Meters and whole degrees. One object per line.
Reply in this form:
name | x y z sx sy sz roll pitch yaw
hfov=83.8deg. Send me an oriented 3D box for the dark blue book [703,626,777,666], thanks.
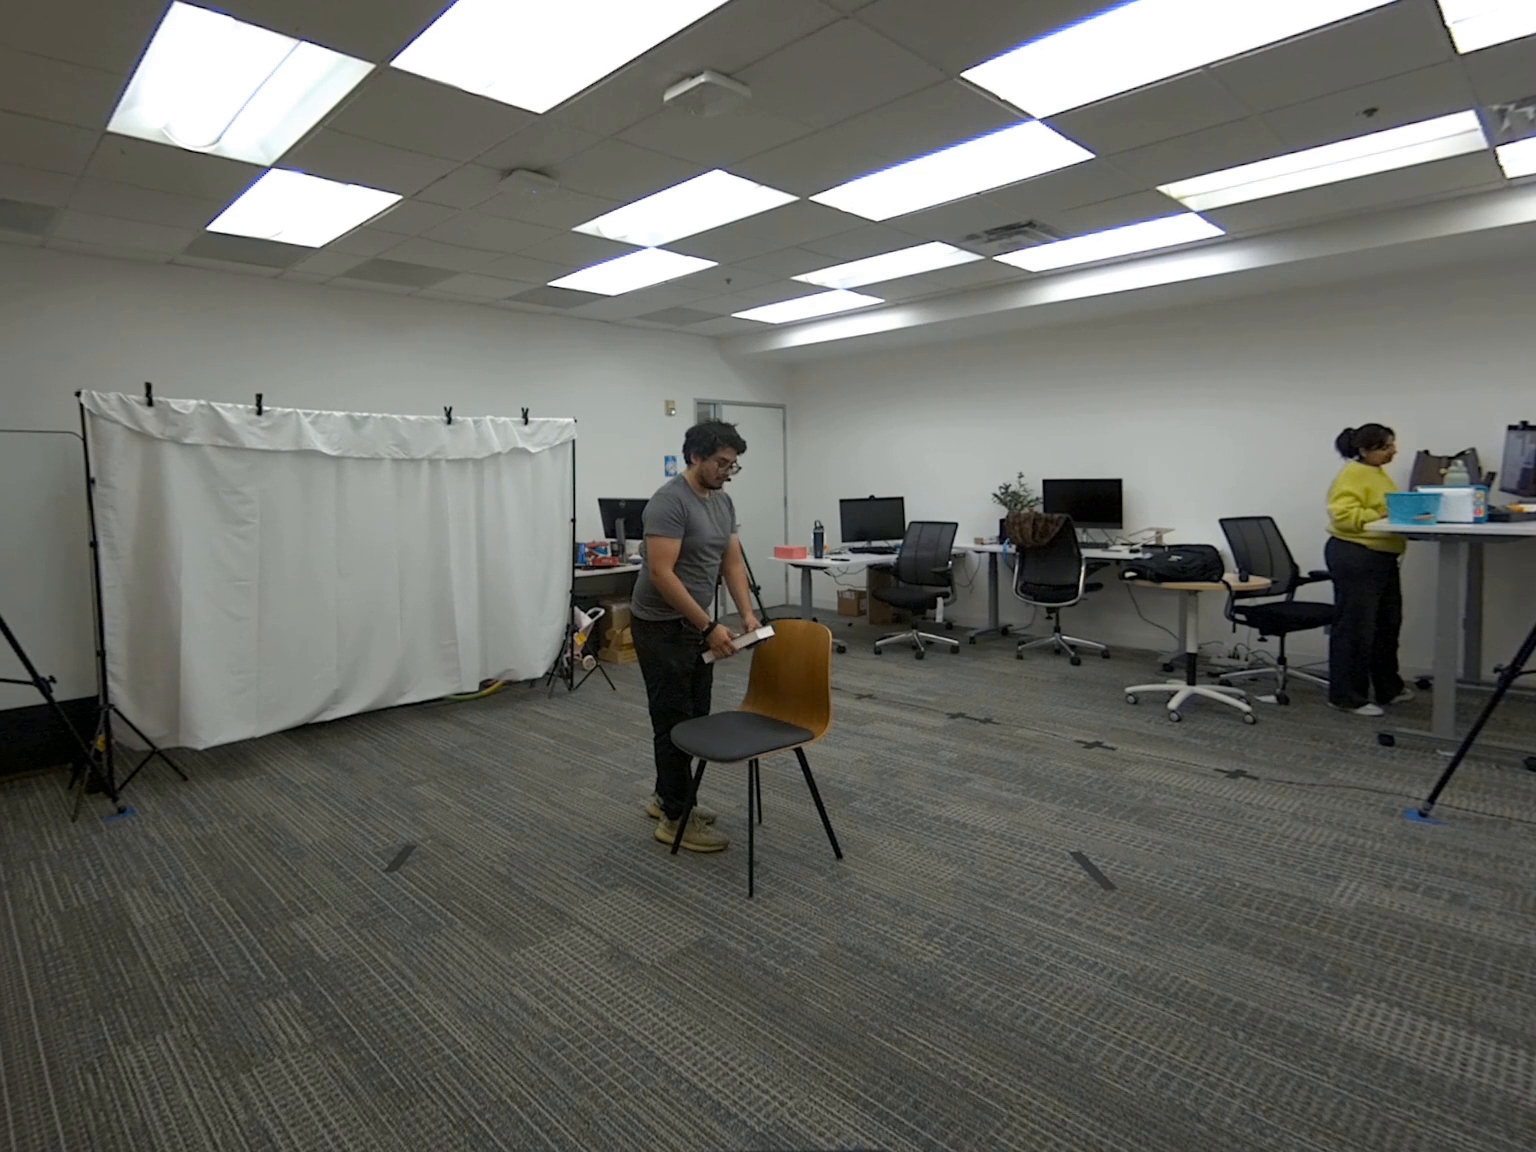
dark blue book | -0.113 0.262 3.151 0.247 0.046 0.160 -26 -8 23
